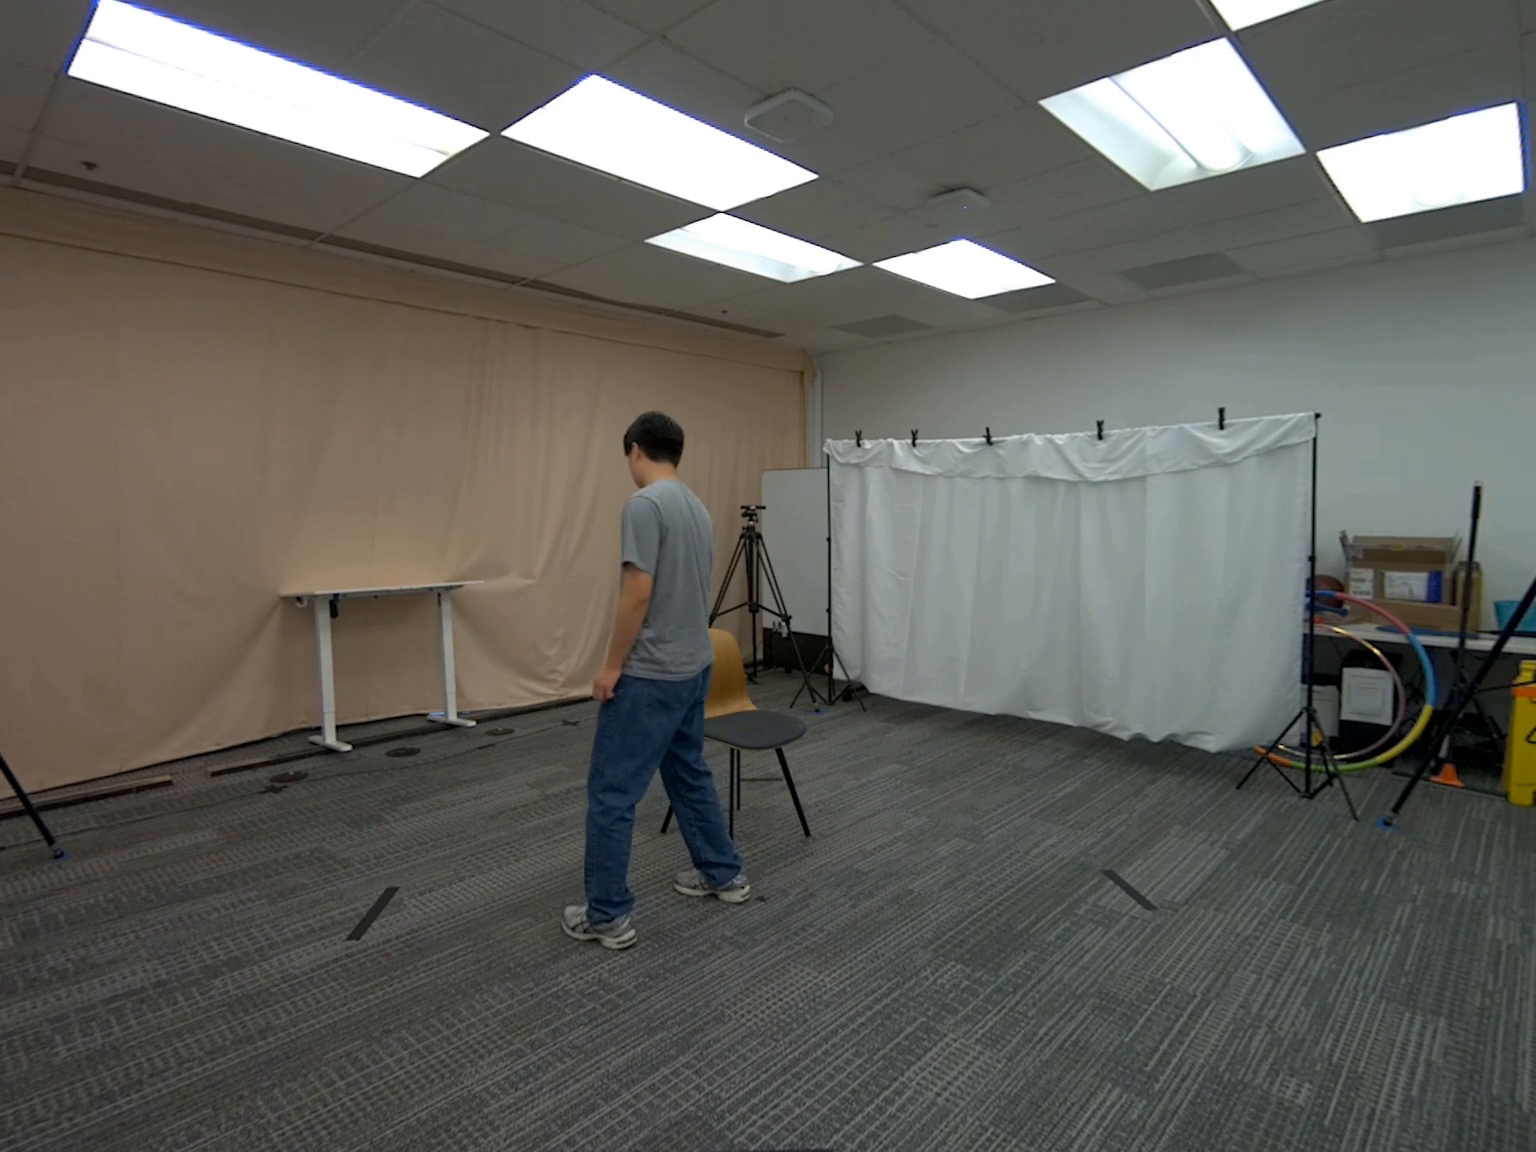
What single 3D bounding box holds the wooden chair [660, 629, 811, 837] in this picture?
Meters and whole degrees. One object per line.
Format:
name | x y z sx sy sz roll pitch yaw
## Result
wooden chair | -0.134 0.671 3.531 0.463 0.878 0.539 -2 -1 -42
